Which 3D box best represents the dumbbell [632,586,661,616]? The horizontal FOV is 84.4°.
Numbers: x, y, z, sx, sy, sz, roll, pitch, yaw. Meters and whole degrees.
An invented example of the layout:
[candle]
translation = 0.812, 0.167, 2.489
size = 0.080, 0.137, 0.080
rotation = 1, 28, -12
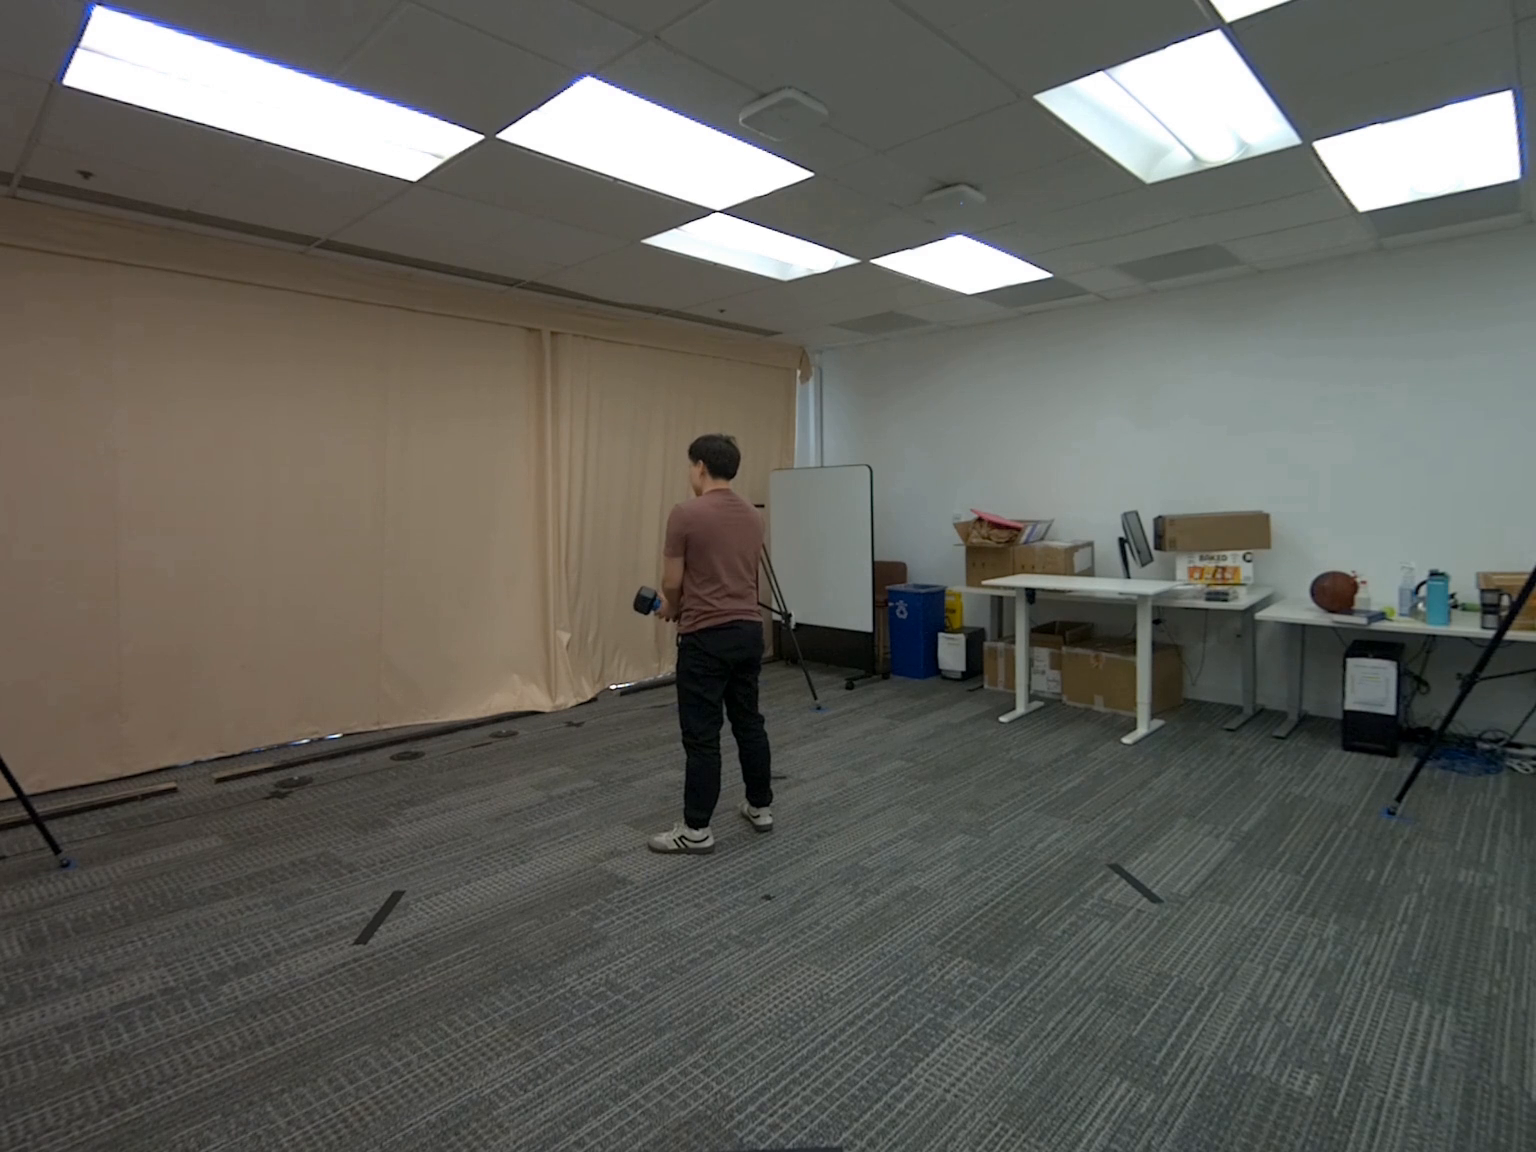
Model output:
[dumbbell]
translation = -0.445, 0.148, 3.728
size = 0.295, 0.123, 0.108
rotation = 20, 6, 4
